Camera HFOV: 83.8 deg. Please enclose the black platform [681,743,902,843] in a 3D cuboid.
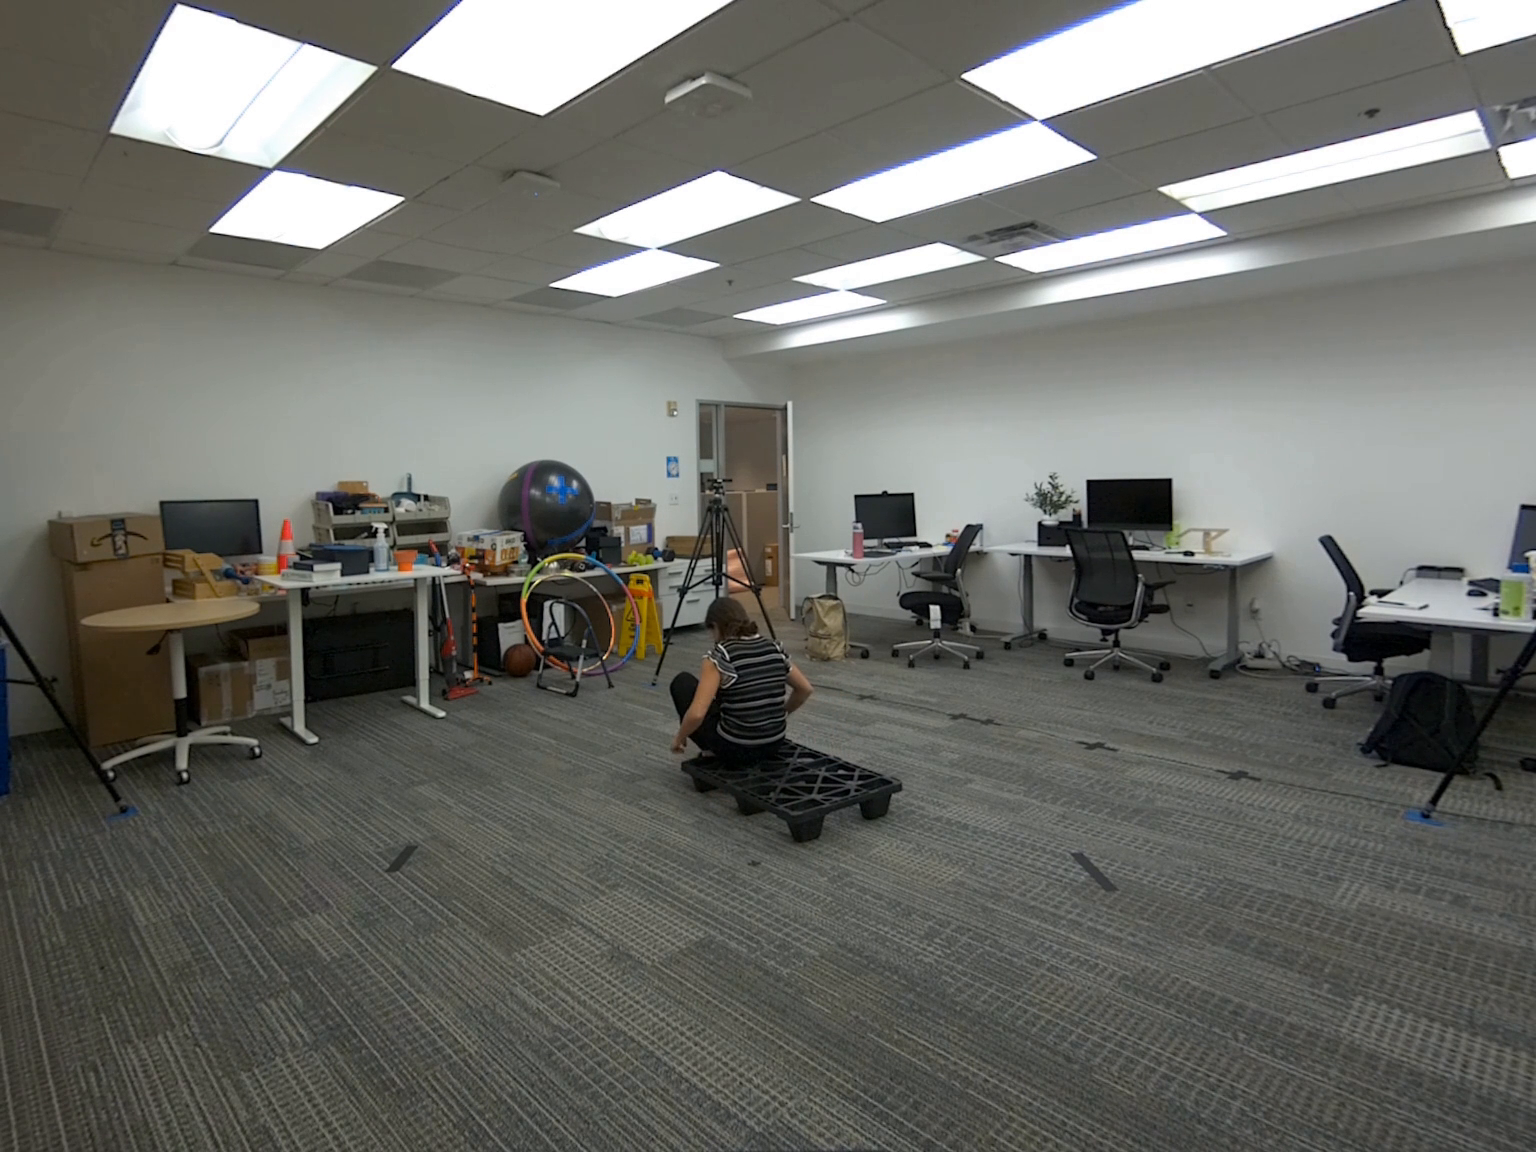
[{"bbox_3d":[0.083,0.908,3.697,0.589,0.143,0.830,-4,7,-37],"label":"black platform"}]
